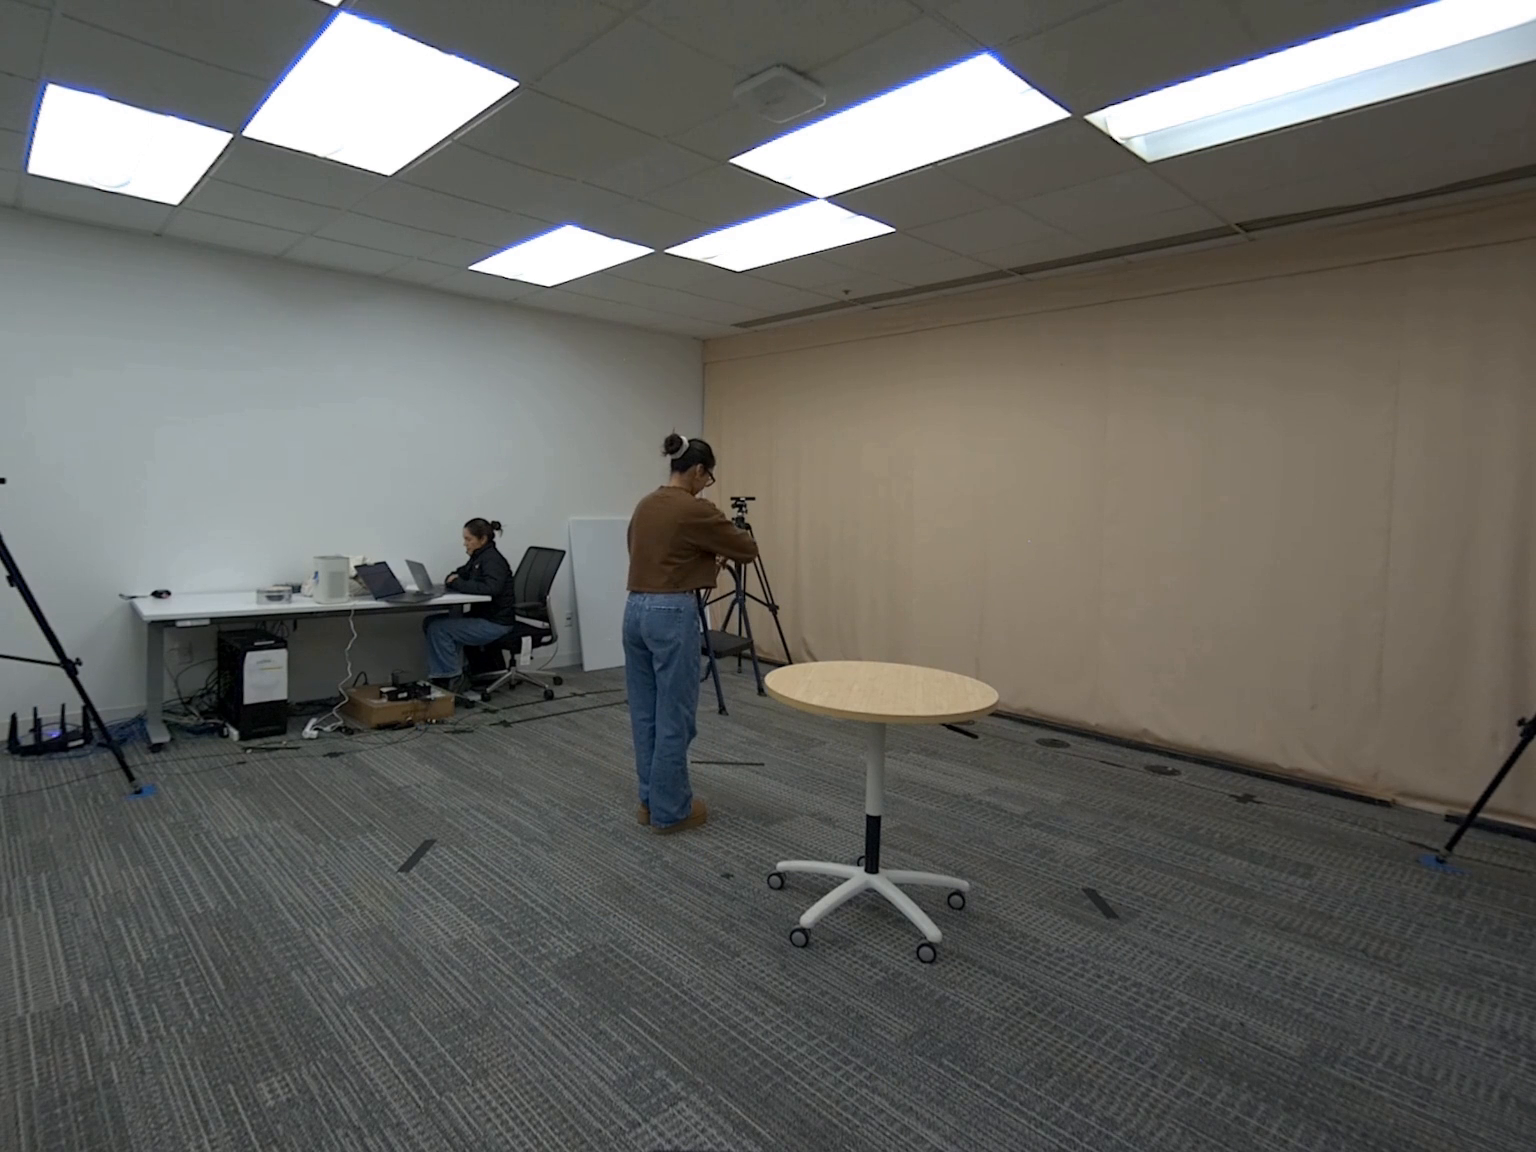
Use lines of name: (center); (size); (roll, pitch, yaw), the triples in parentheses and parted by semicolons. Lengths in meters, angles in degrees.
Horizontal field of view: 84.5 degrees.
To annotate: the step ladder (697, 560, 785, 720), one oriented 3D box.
step ladder: (-0.217, 0.263, 3.829); (0.356, 0.603, 0.423); (12, 7, 23)
